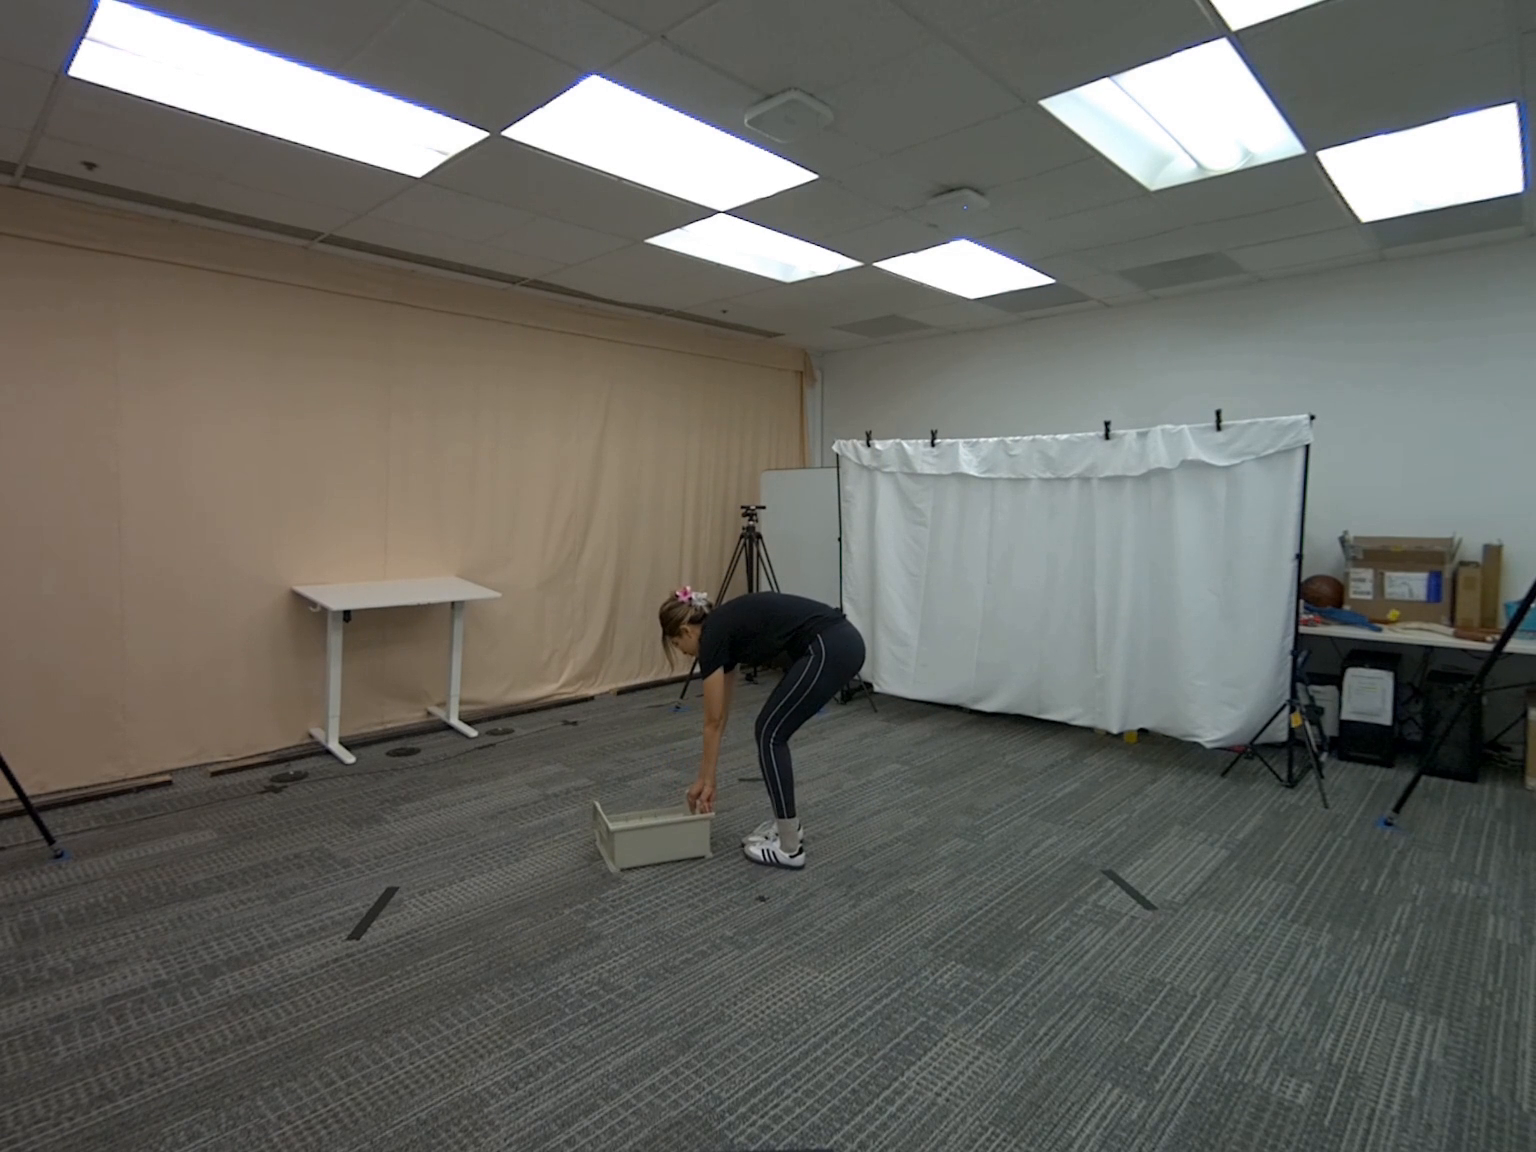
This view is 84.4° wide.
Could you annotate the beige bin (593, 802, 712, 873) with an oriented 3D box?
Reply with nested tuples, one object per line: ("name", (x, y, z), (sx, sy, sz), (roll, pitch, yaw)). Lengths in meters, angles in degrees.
("beige bin", (-0.475, 1.022, 3.432), (0.413, 0.188, 0.386), (-2, 5, -22))
